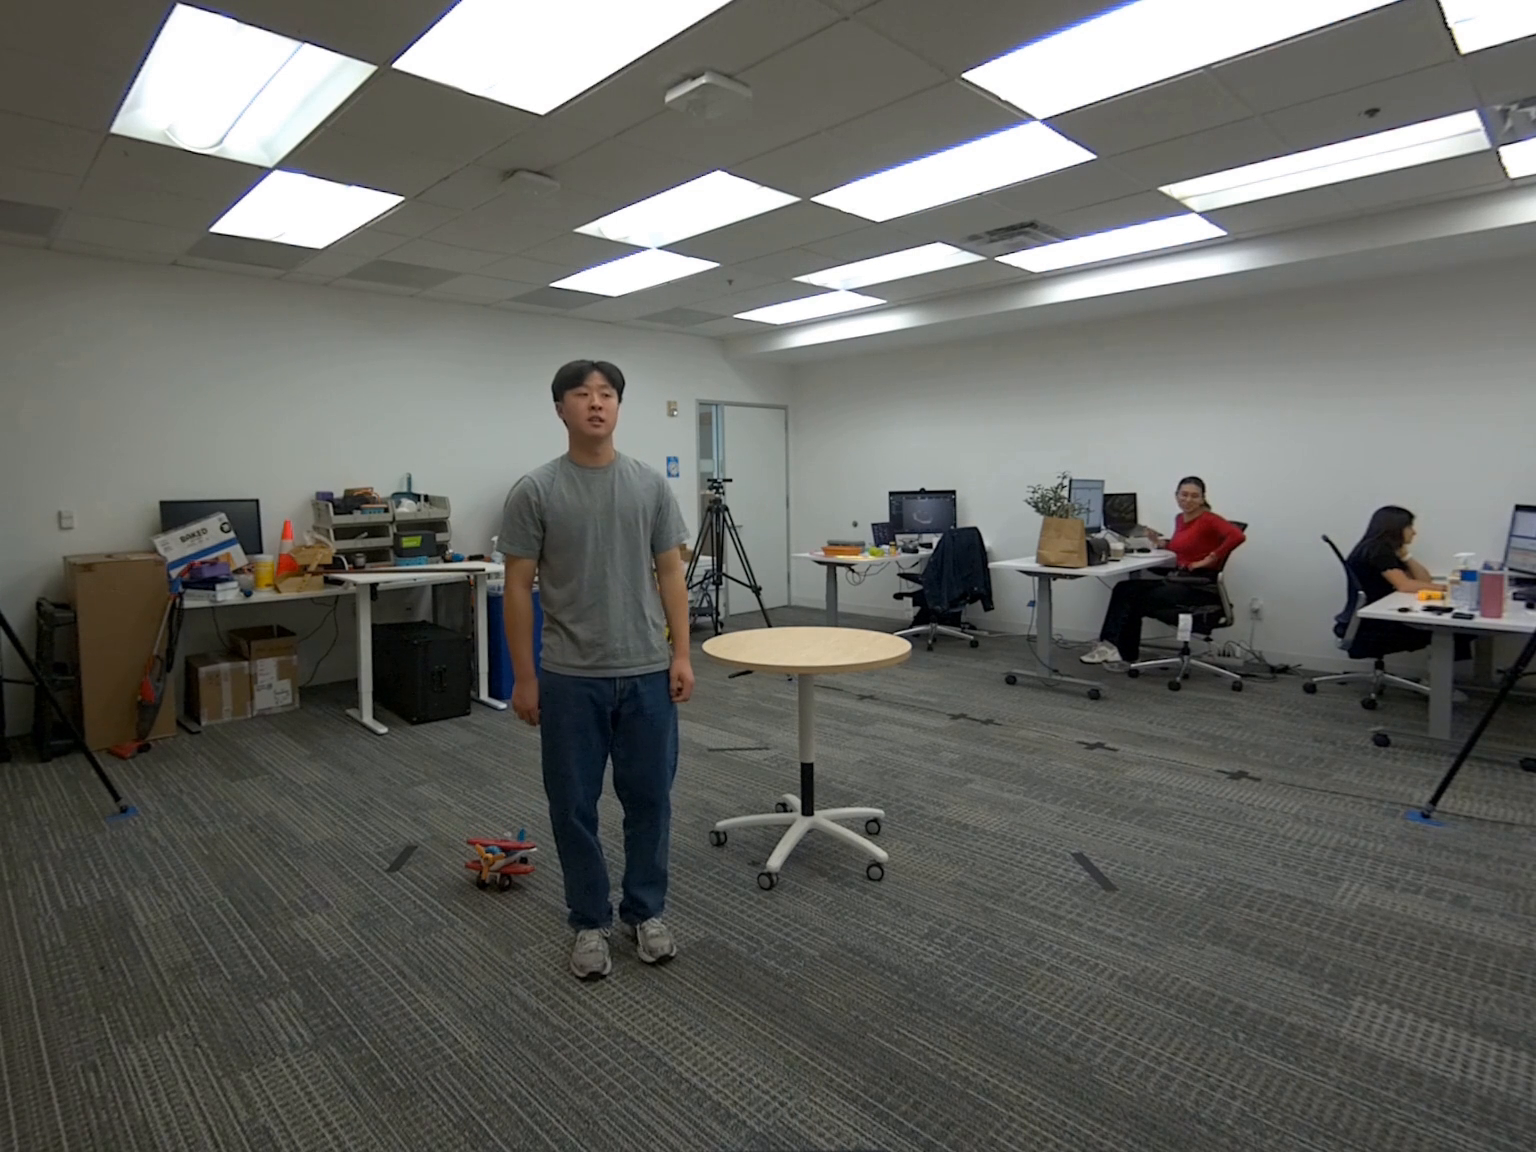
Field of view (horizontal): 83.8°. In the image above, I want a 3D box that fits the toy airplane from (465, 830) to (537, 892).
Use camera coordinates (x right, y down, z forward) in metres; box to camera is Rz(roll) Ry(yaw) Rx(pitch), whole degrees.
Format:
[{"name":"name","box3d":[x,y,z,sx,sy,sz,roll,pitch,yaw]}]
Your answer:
[{"name":"toy airplane","box3d":[-0.948,0.999,3.035,0.248,0.155,0.264,-3,7,-14]}]
